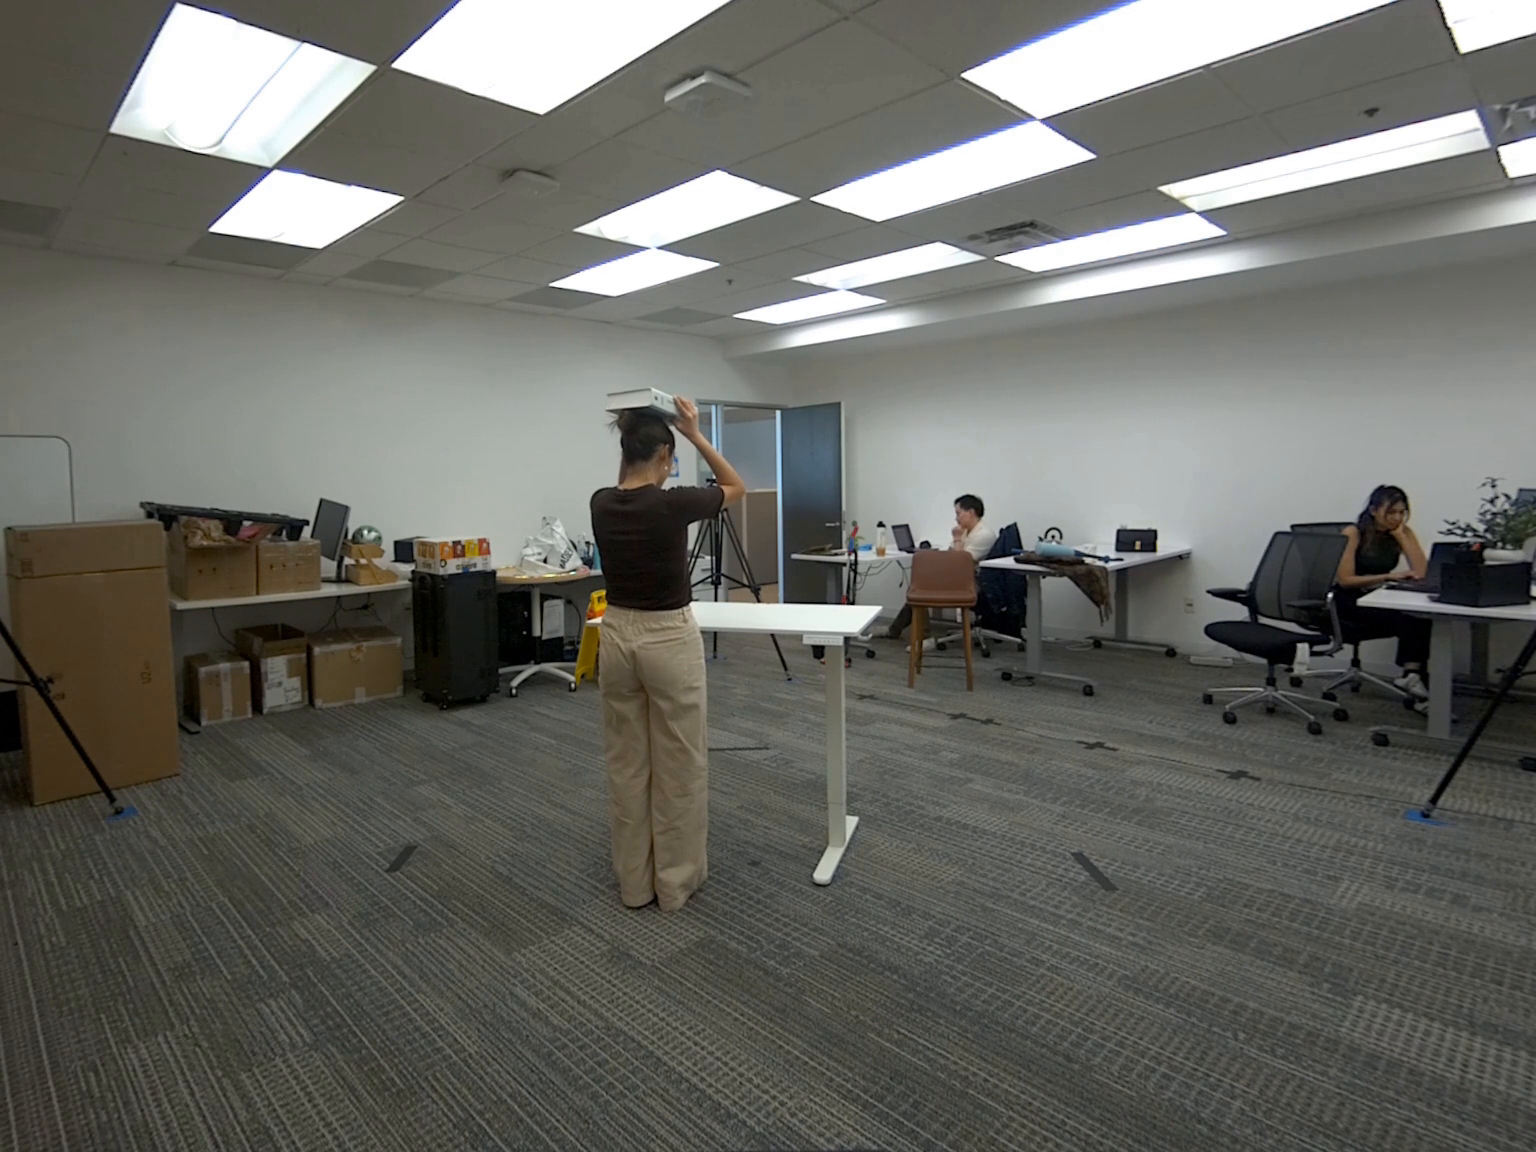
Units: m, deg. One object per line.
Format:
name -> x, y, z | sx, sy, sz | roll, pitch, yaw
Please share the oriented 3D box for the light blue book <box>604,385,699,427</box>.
light blue book -> -0.381, -0.553, 2.815 | 0.196, 0.059, 0.253 | 0, -5, 29
